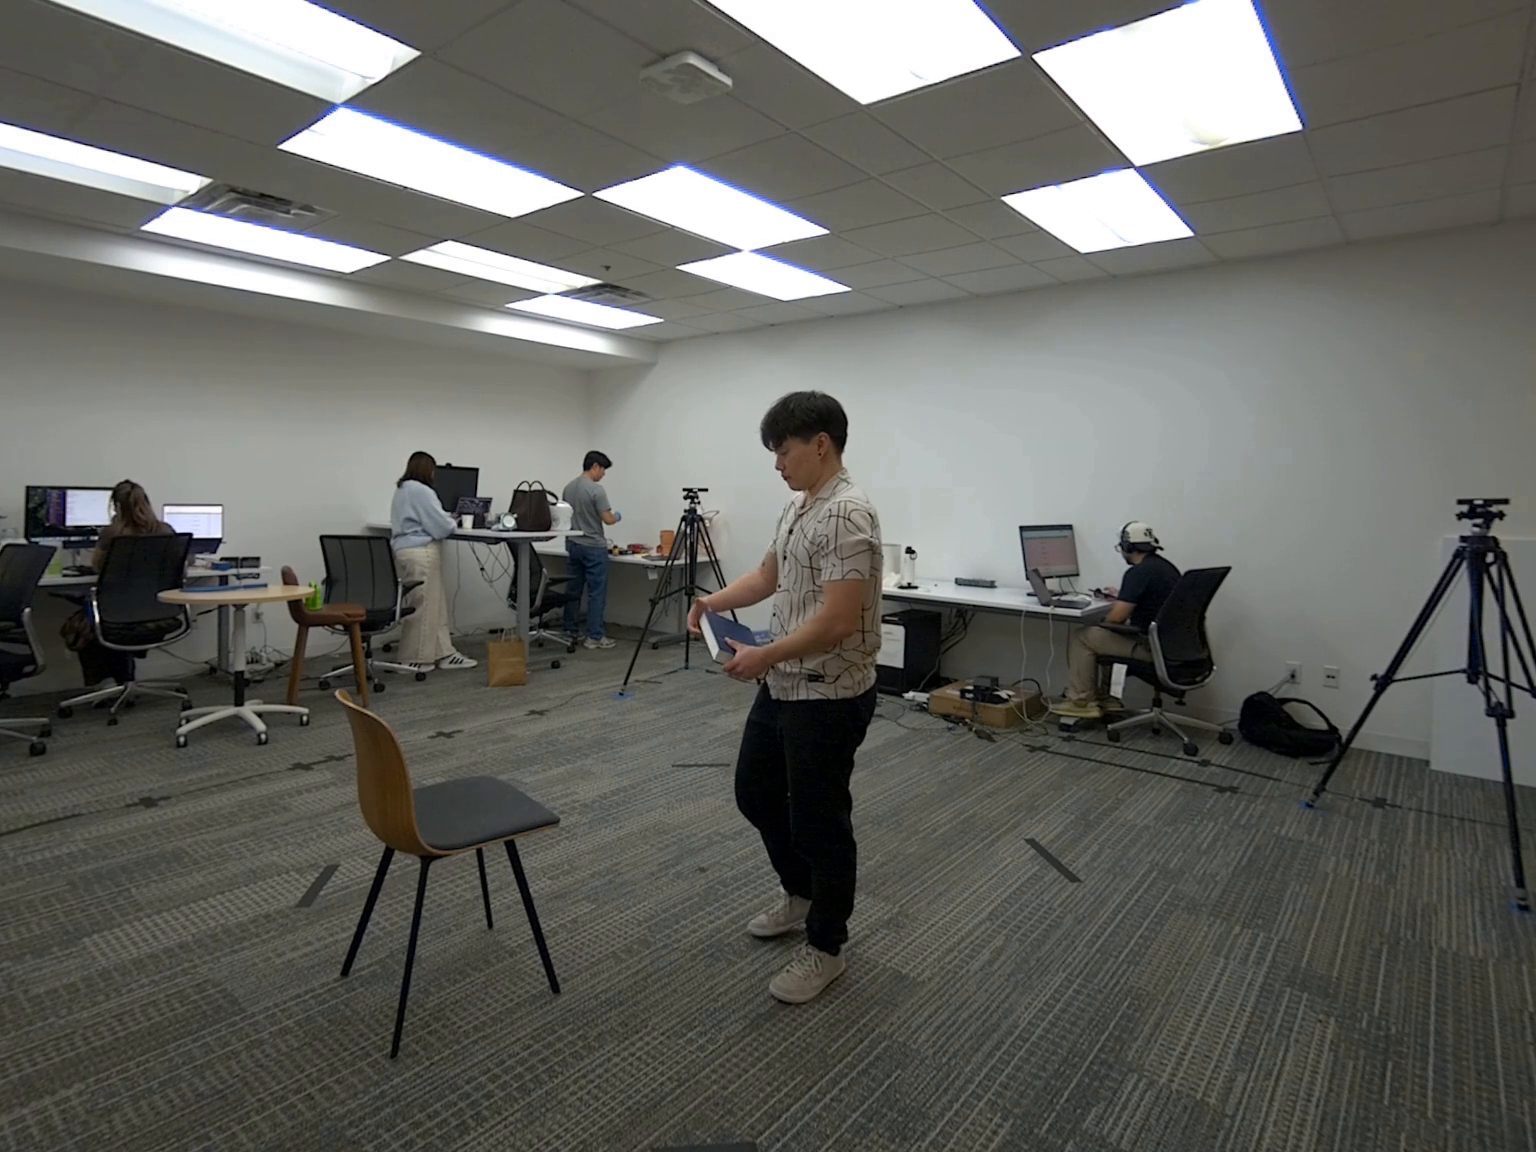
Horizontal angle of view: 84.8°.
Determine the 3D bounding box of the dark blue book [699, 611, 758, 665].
[{"bbox_3d":[-0.106,0.185,2.398,0.159,0.045,0.252,21,16,-20],"label":"dark blue book"}]
